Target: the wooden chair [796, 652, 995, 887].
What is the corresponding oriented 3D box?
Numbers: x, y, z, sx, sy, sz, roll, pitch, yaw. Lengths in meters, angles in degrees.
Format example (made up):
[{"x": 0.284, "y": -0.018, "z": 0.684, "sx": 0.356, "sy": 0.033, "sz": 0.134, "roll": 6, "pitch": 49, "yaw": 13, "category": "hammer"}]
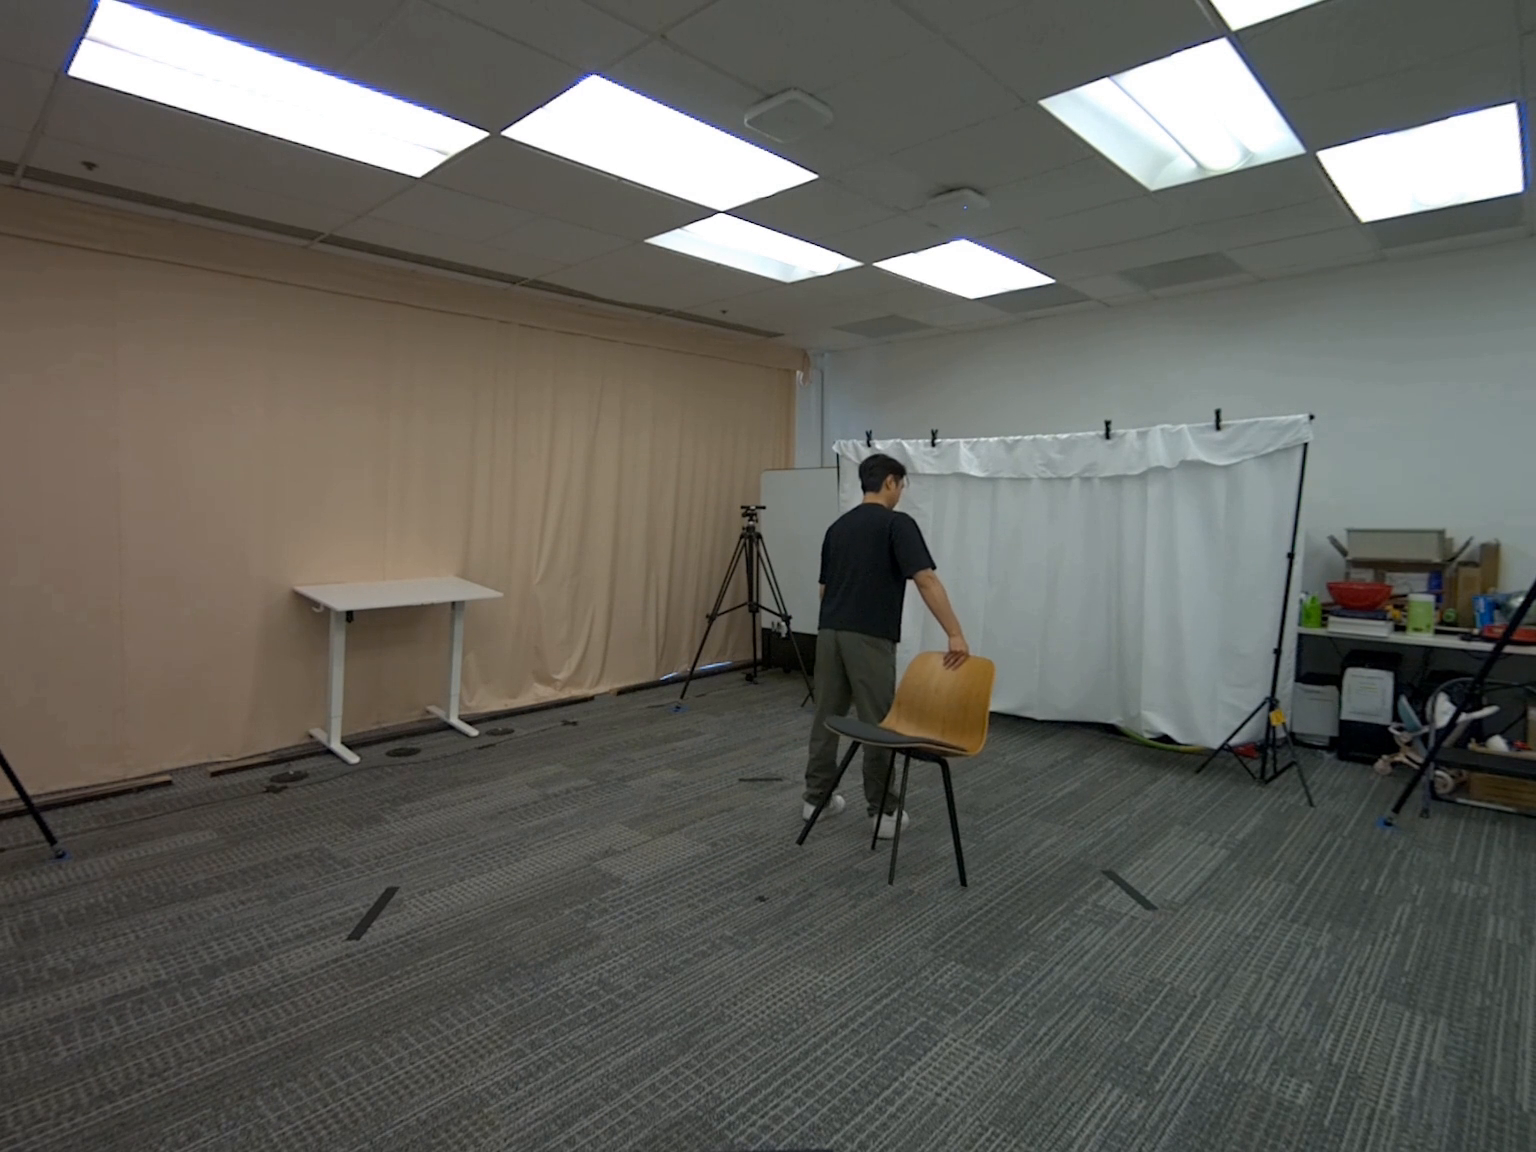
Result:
[{"x": 0.509, "y": 0.653, "z": 3.146, "sx": 0.504, "sy": 0.880, "sz": 0.494, "roll": 24, "pitch": -13, "yaw": -39, "category": "wooden chair"}]
